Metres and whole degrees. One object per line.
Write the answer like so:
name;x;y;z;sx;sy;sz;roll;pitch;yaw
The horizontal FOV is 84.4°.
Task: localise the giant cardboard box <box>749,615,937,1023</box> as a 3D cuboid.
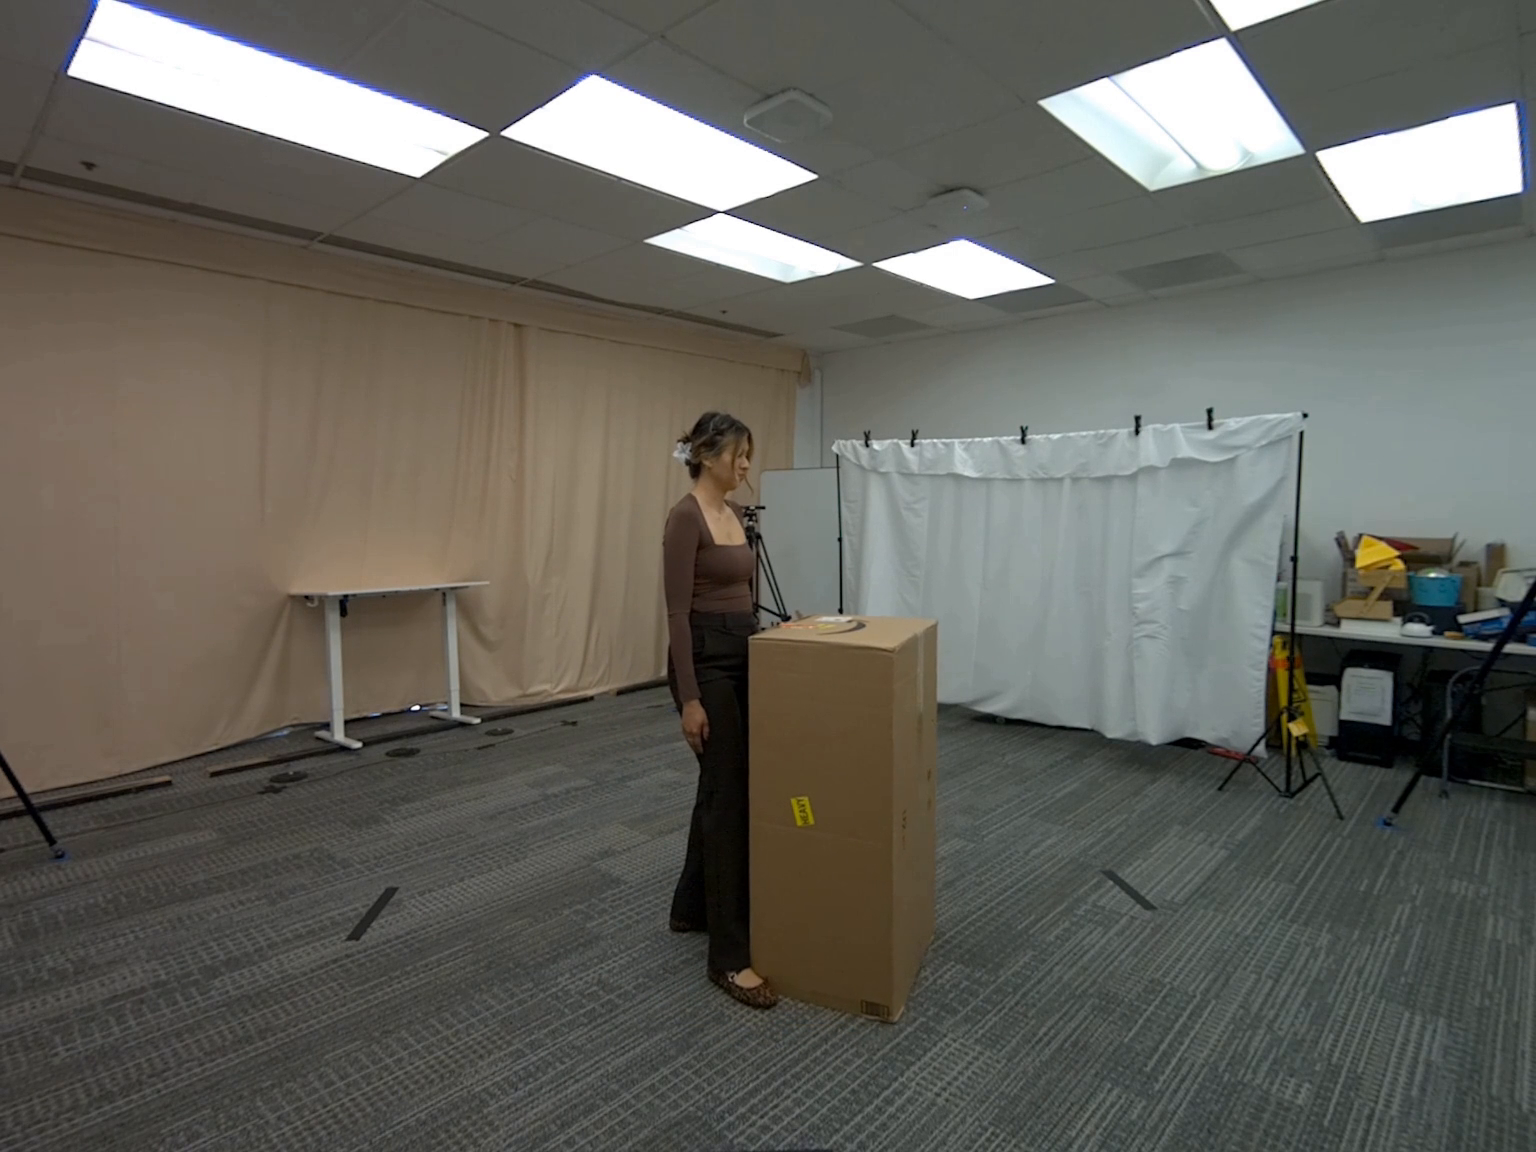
giant cardboard box;0.248;0.666;2.576;0.458;1.025;0.570;1;3;25
